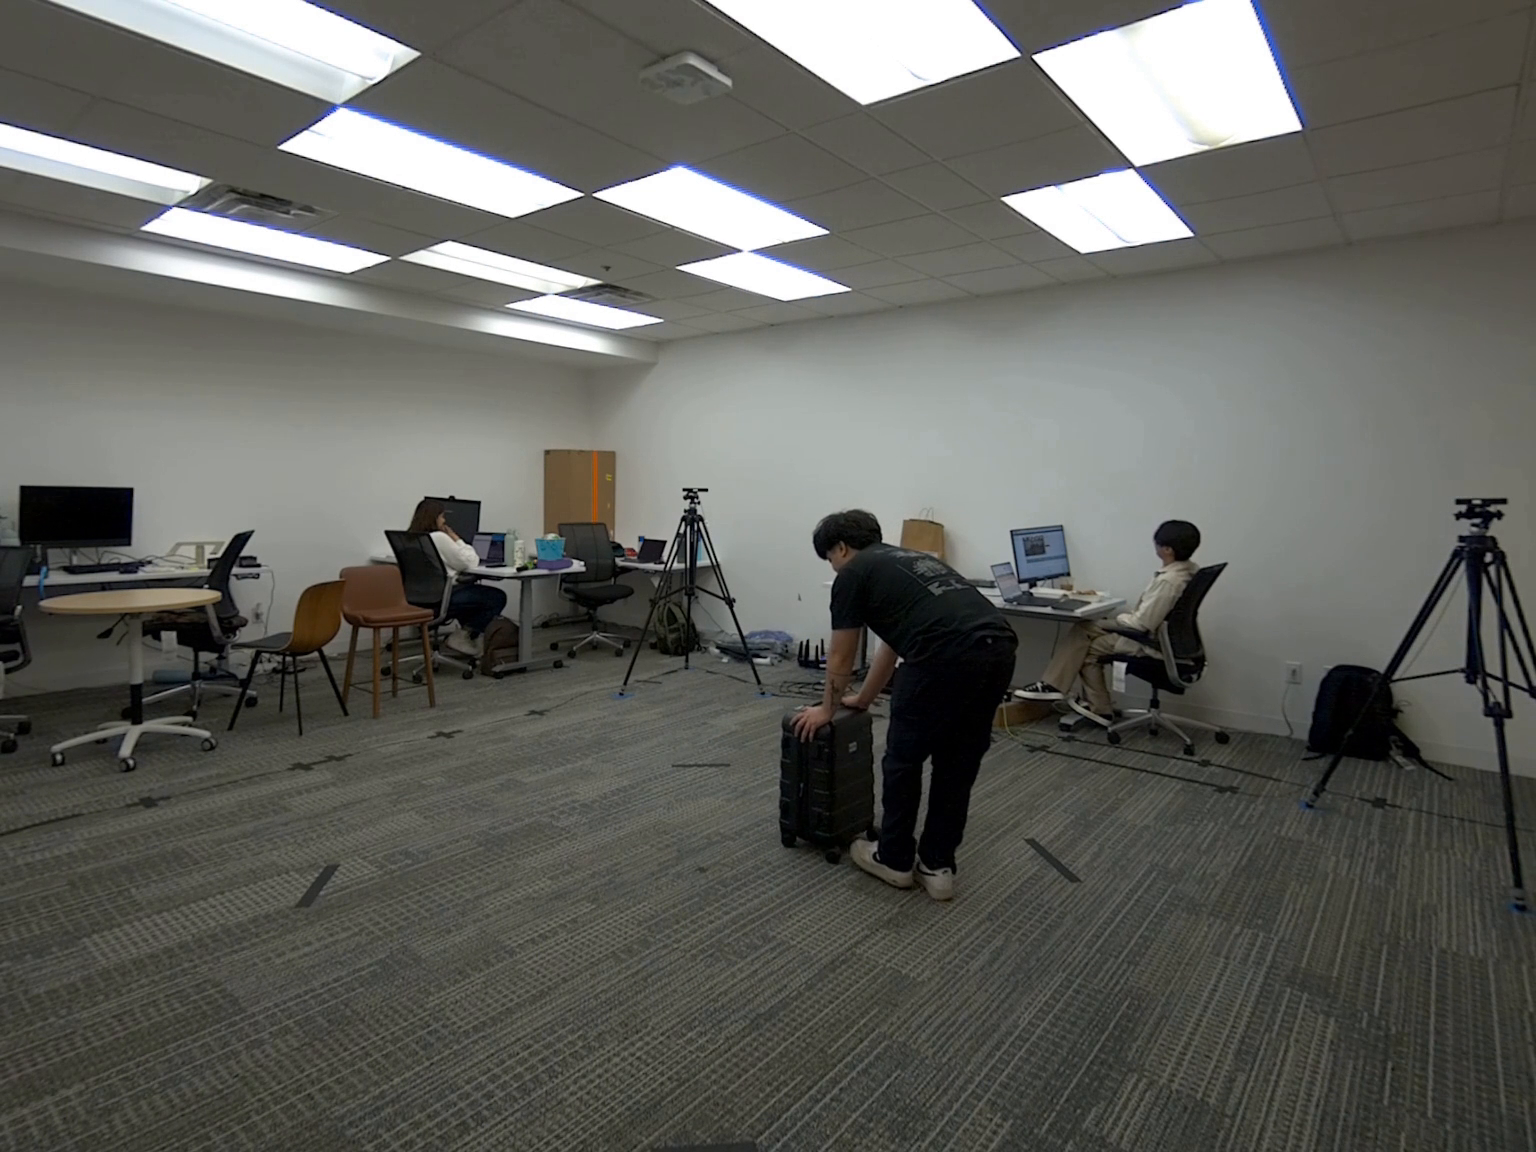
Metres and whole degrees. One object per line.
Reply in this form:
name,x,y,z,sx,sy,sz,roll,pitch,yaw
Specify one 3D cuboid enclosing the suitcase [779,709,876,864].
suitcase,0.229,0.778,3.375,0.256,0.548,0.364,2,4,39
